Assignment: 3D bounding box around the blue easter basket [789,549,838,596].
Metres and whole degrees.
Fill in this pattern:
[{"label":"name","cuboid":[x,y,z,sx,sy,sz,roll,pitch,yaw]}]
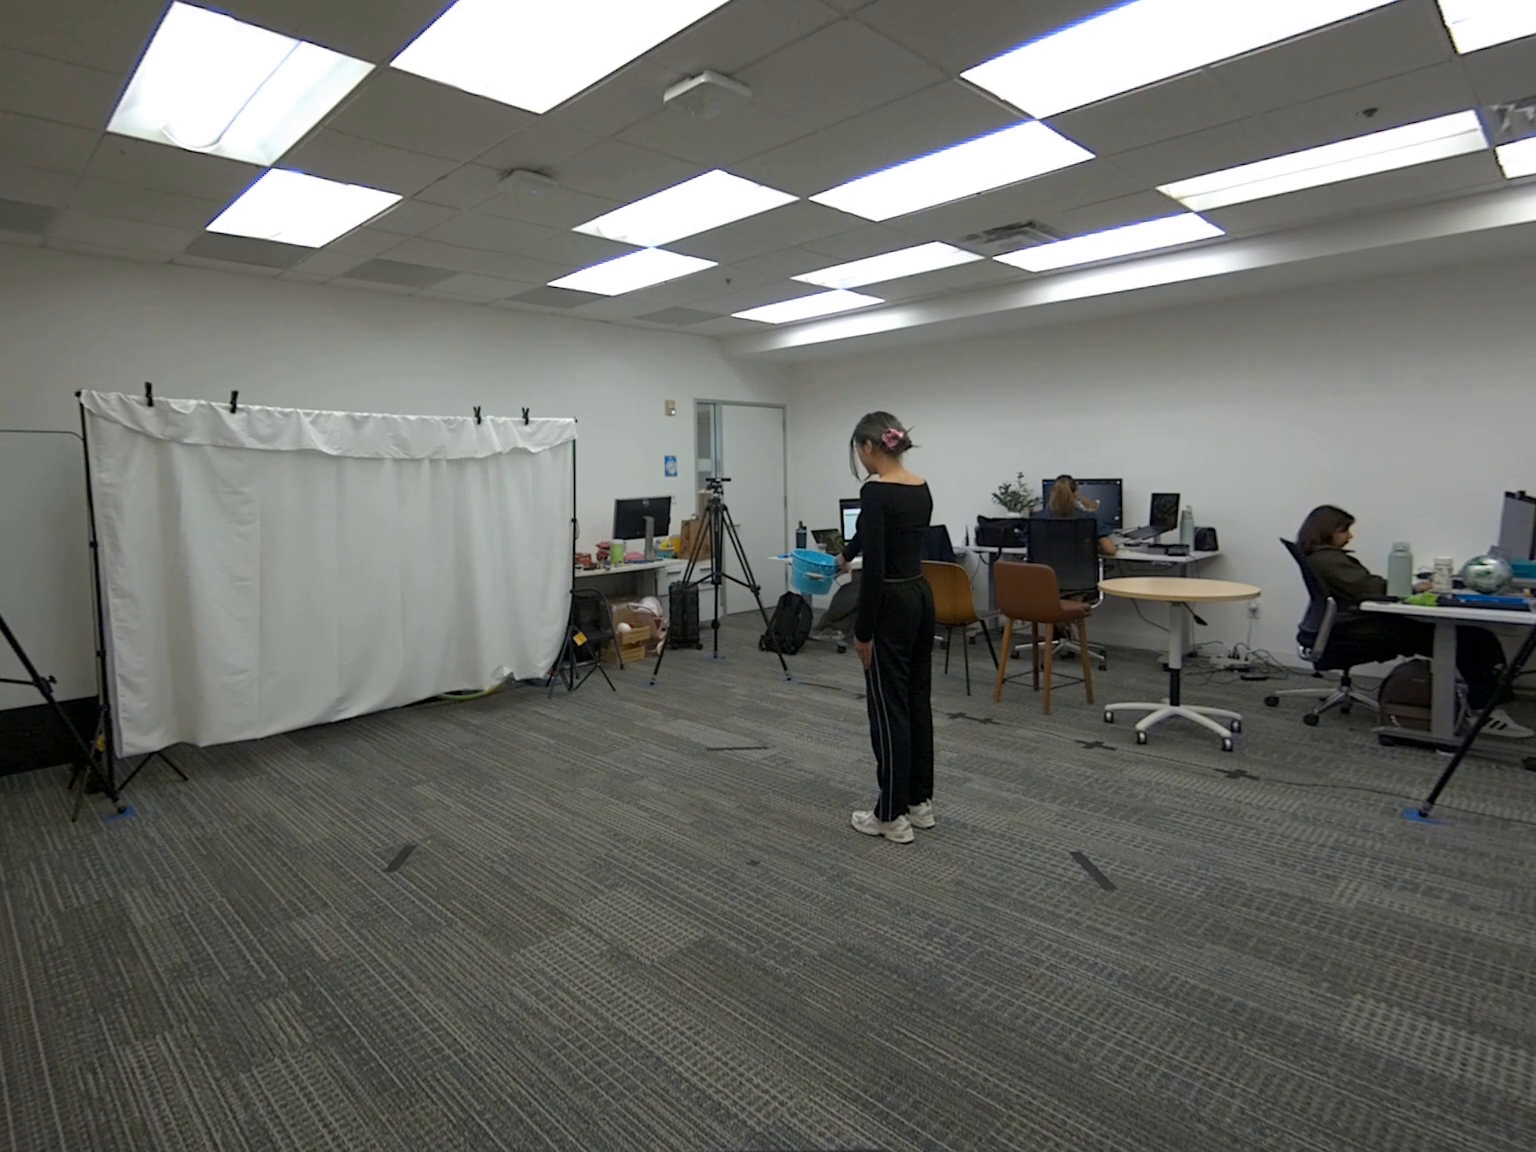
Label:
[{"label":"blue easter basket","cuboid":[0.218,-0.008,3.925,0.243,0.154,0.247,10,13,-4]}]
